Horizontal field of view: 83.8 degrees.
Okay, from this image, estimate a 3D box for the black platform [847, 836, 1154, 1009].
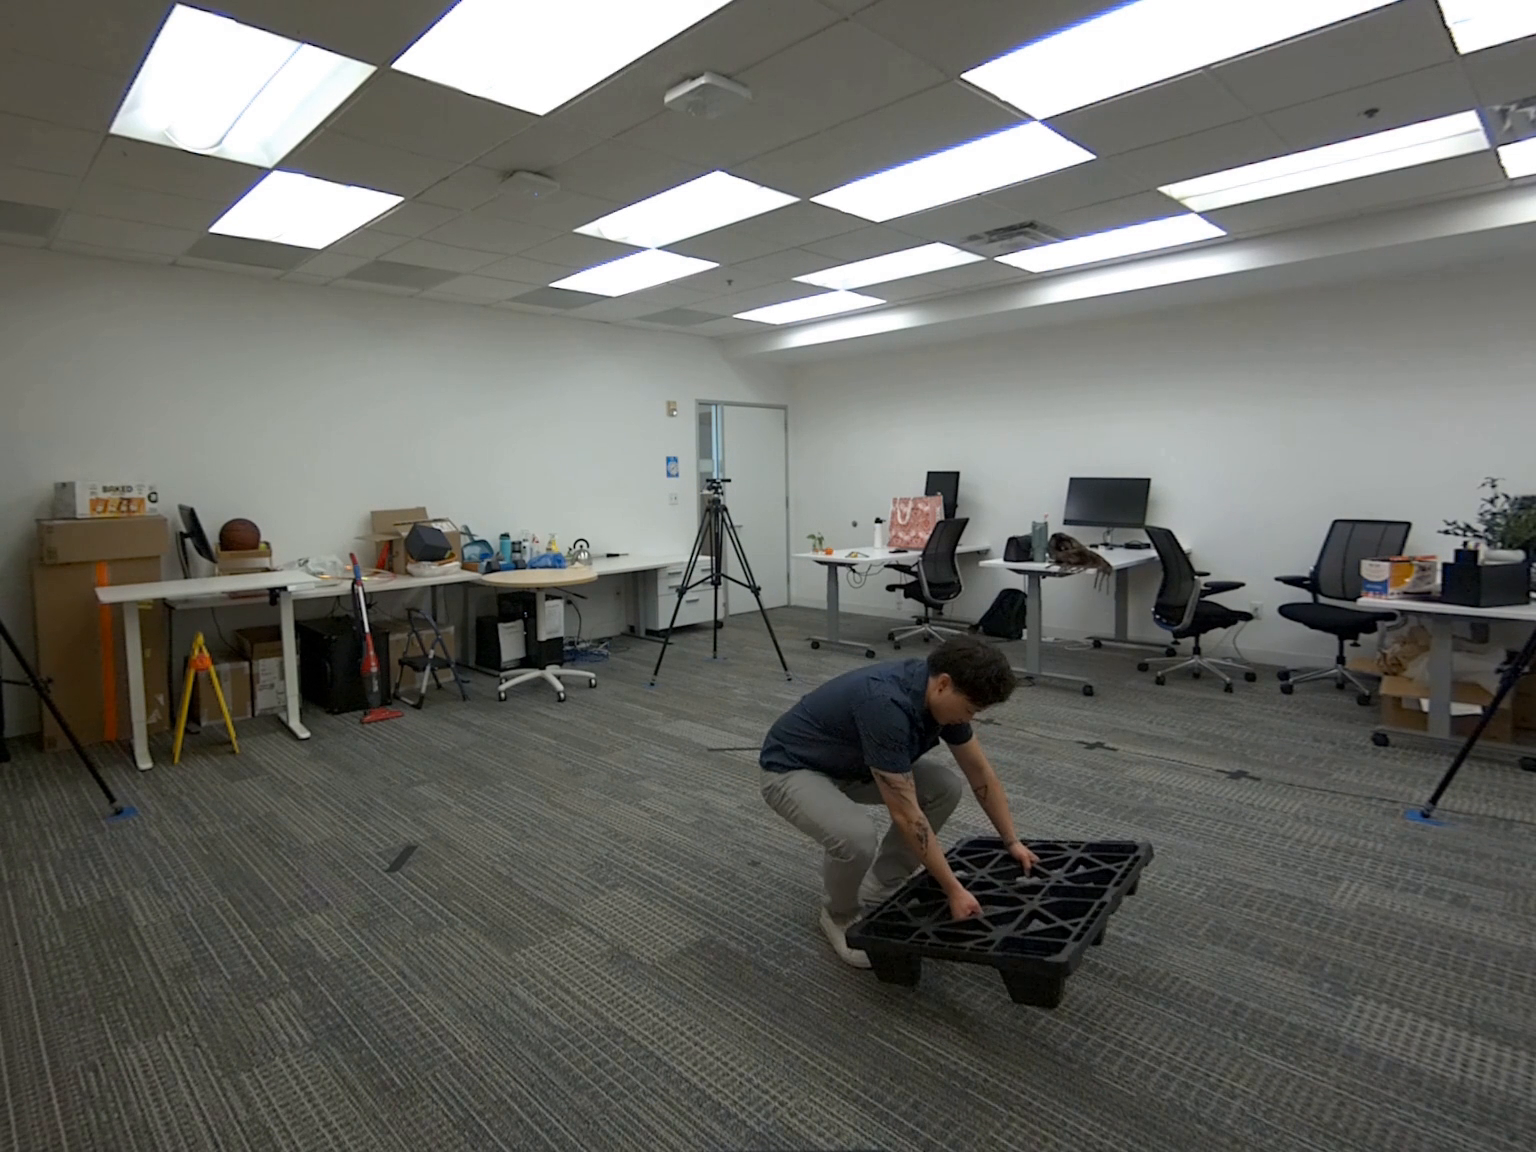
[{"bbox_3d":[0.692,0.932,2.388,0.618,0.144,0.786,-11,-1,38],"label":"black platform"}]
